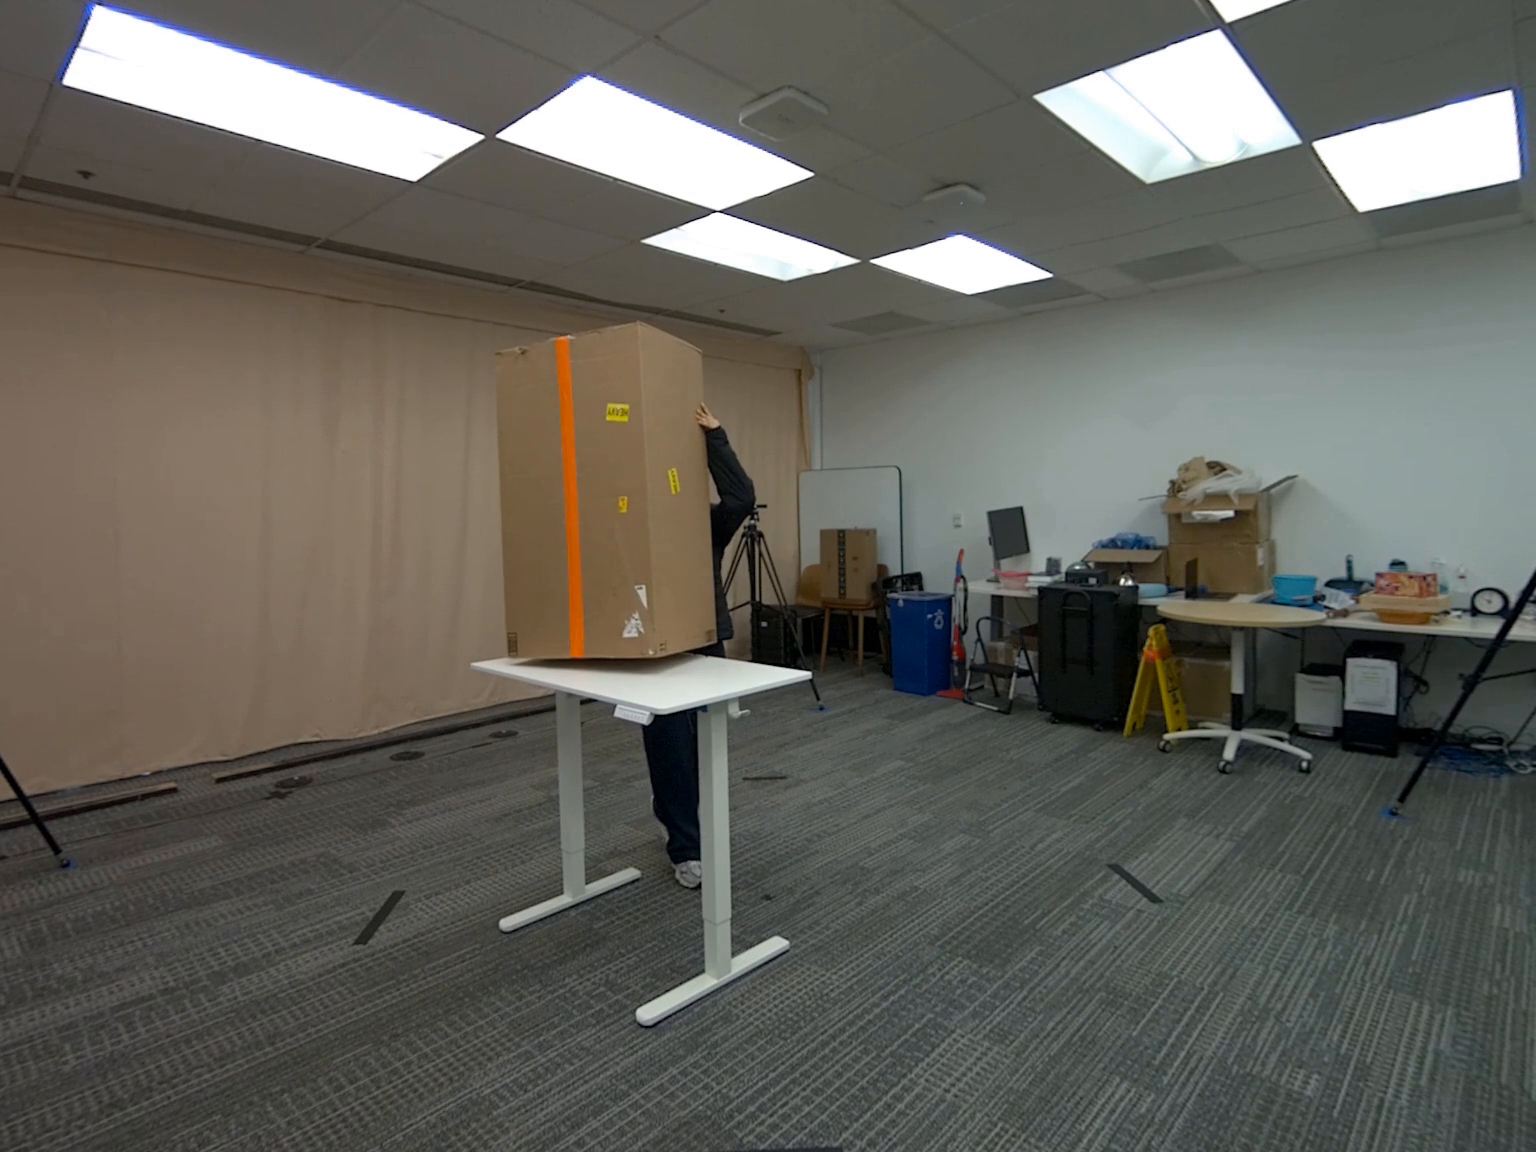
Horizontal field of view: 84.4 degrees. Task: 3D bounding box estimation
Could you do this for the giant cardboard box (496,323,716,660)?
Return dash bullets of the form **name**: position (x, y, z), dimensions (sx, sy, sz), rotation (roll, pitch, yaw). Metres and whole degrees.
- **giant cardboard box**: position (-0.535, -0.251, 2.854), dimensions (0.598, 1.027, 0.436), rotation (-4, -1, 26)
